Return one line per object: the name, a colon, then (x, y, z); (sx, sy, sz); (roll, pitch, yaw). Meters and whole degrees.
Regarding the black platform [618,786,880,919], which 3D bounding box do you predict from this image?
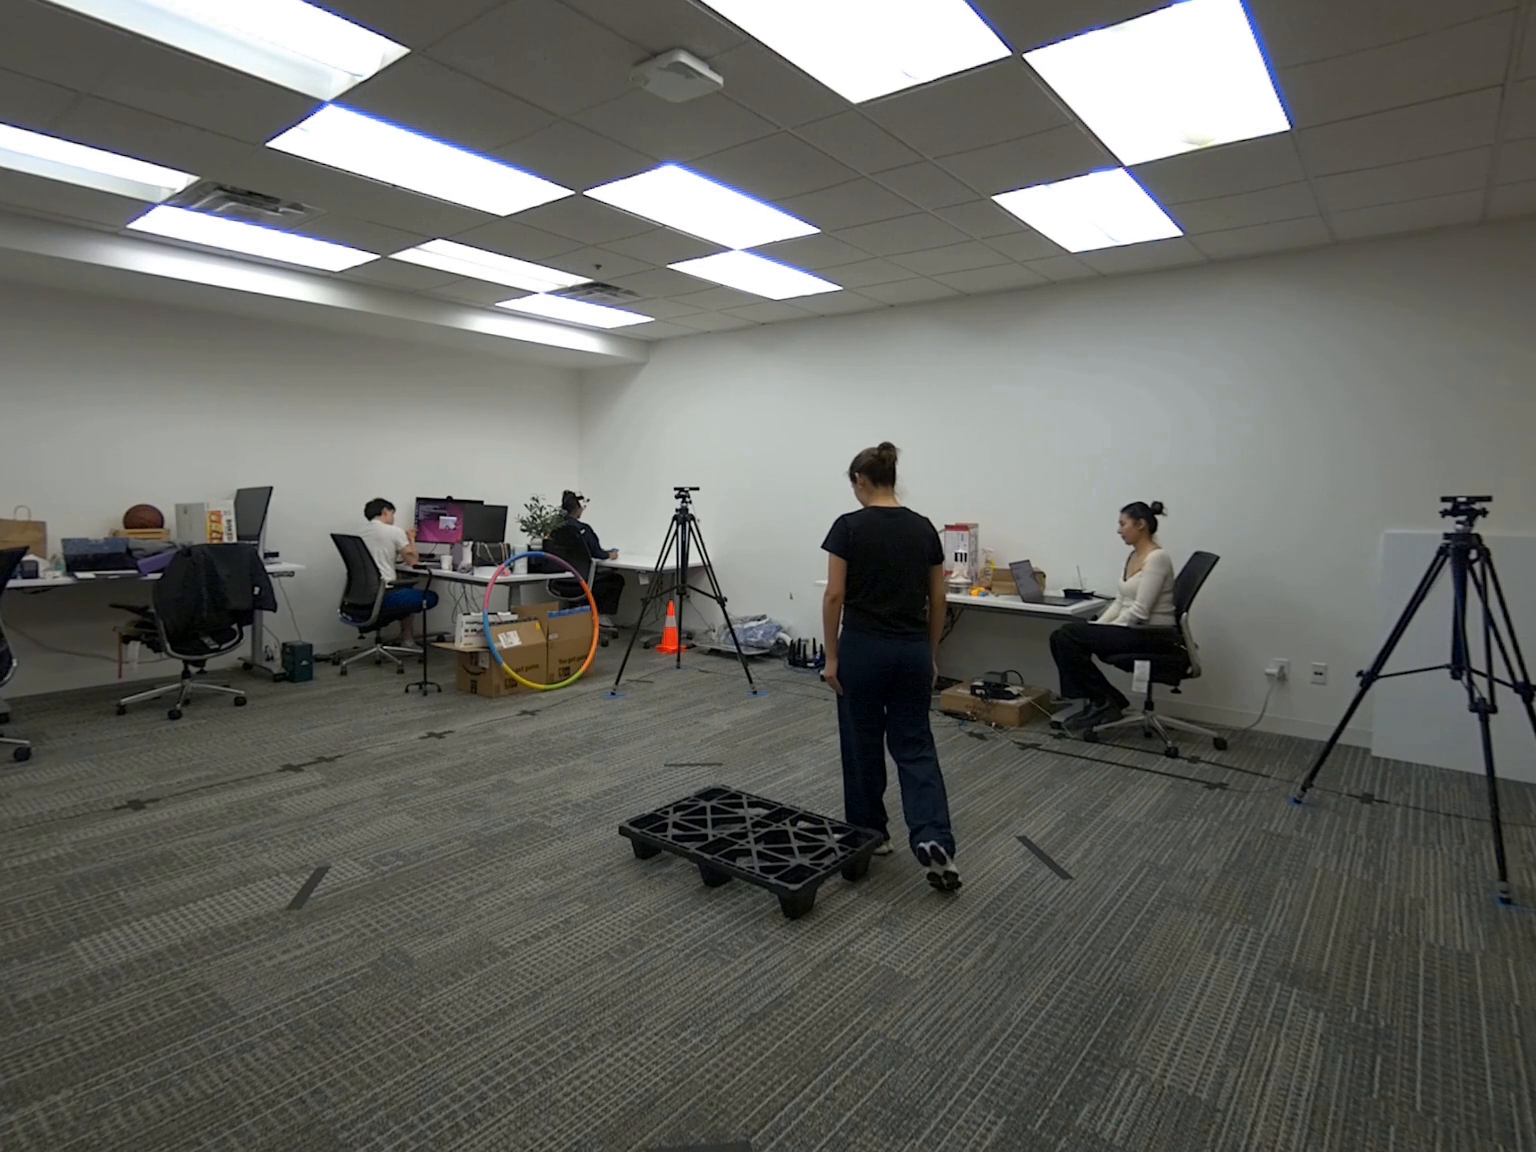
black platform: (-0.053, 0.998, 3.165); (0.832, 0.143, 0.587); (5, 7, 38)
